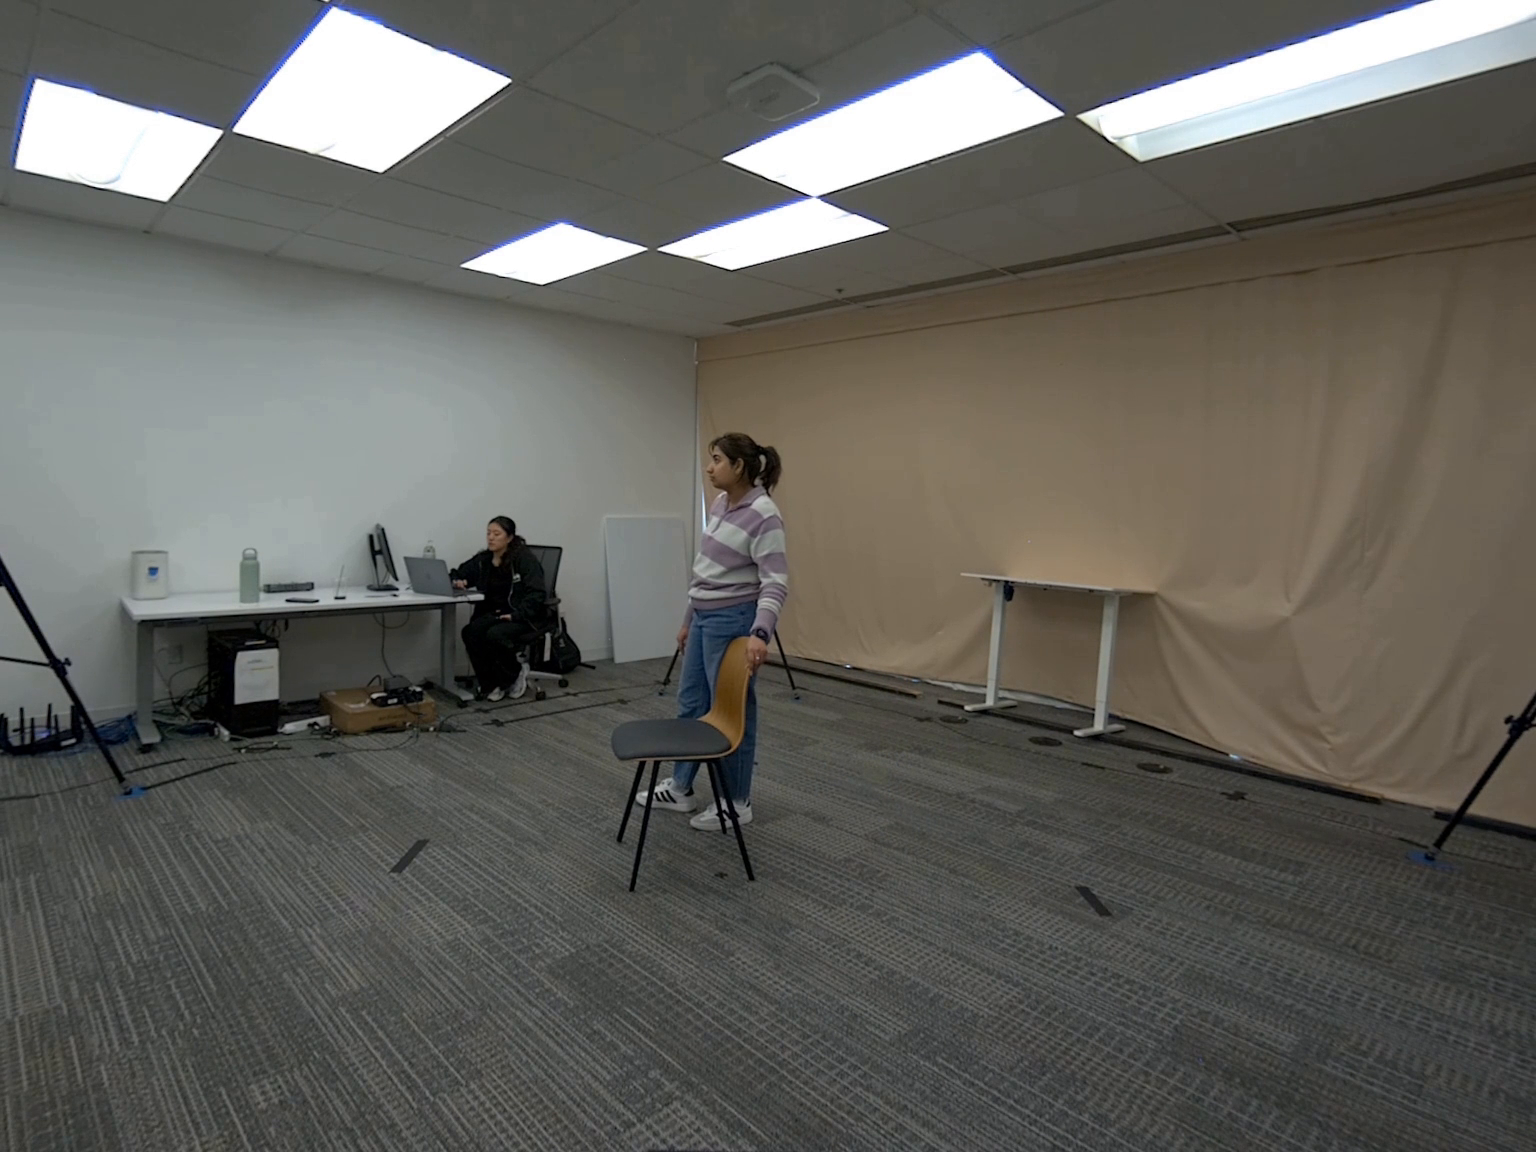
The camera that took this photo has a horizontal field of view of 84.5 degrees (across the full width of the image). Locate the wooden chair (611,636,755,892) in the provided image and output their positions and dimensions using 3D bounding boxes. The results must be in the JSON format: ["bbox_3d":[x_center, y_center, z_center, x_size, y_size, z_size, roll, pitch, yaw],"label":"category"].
[{"bbox_3d":[-0.332,0.664,3.182,0.516,0.876,0.485,4,3,-15],"label":"wooden chair"}]
